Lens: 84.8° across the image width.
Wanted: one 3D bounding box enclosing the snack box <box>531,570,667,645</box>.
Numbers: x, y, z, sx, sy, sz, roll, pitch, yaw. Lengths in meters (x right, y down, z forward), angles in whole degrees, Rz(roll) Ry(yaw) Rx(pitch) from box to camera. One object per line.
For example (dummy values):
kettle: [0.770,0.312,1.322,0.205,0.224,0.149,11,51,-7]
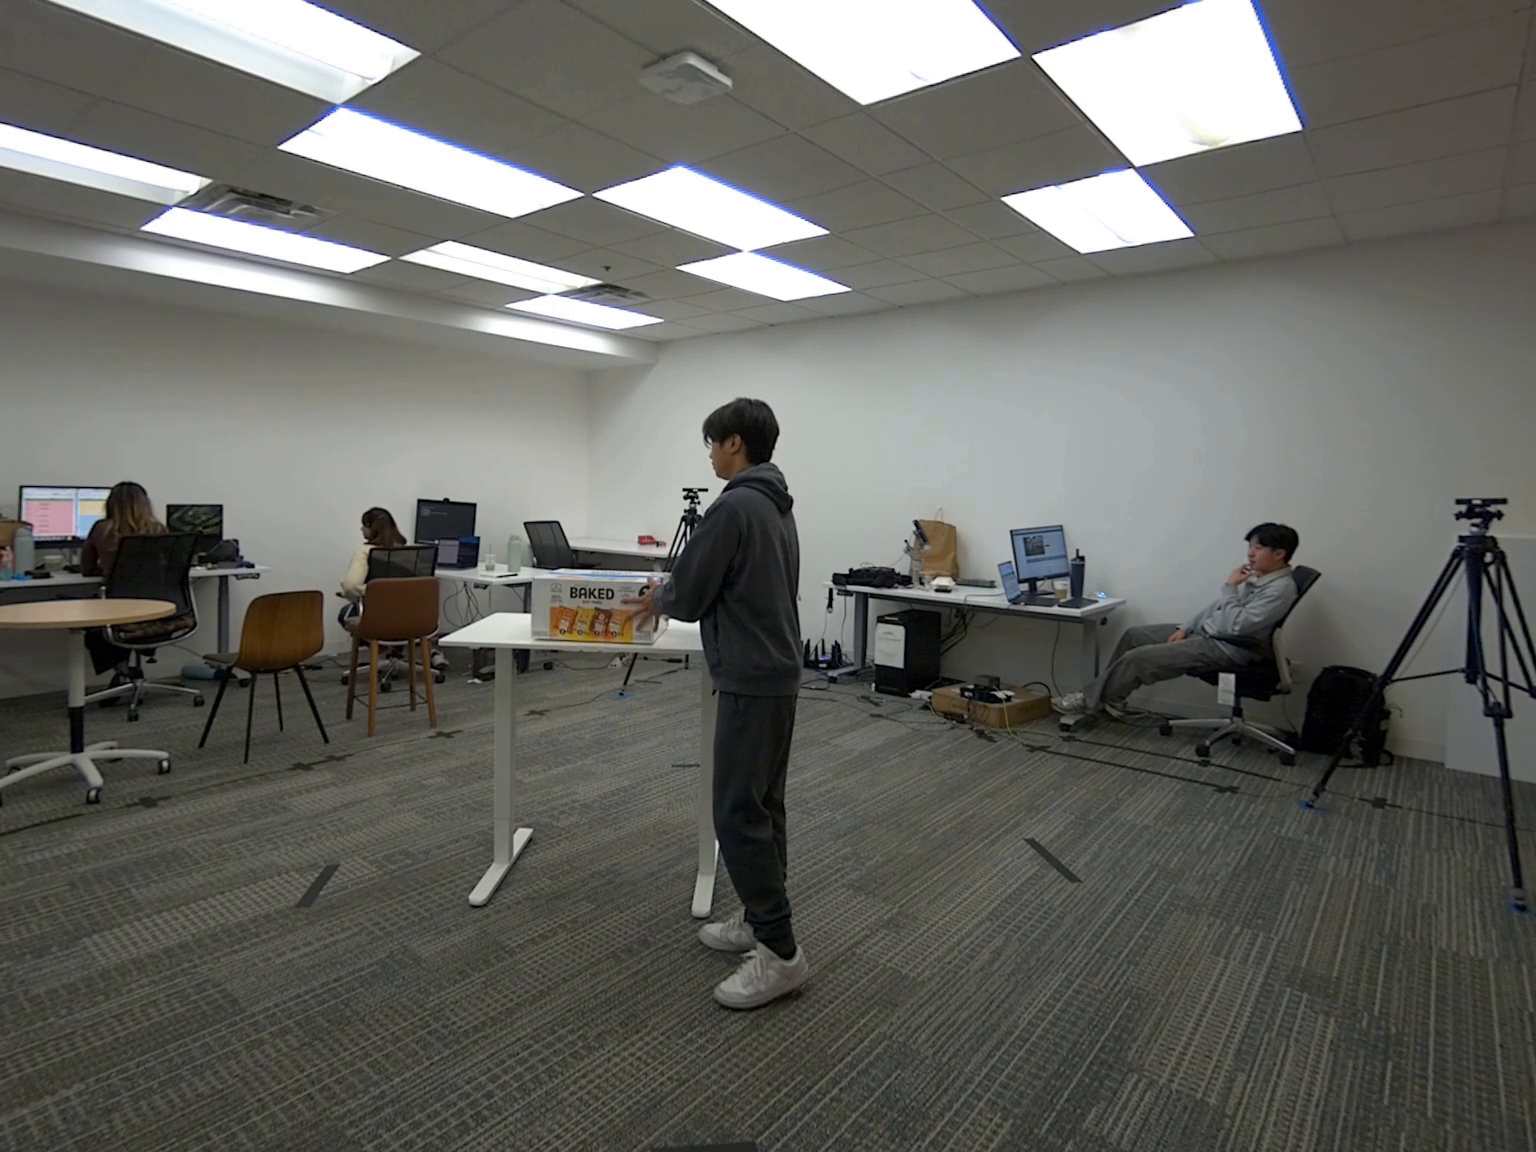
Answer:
snack box: [-0.578,0.096,2.927,0.407,0.205,0.340,2,5,4]
